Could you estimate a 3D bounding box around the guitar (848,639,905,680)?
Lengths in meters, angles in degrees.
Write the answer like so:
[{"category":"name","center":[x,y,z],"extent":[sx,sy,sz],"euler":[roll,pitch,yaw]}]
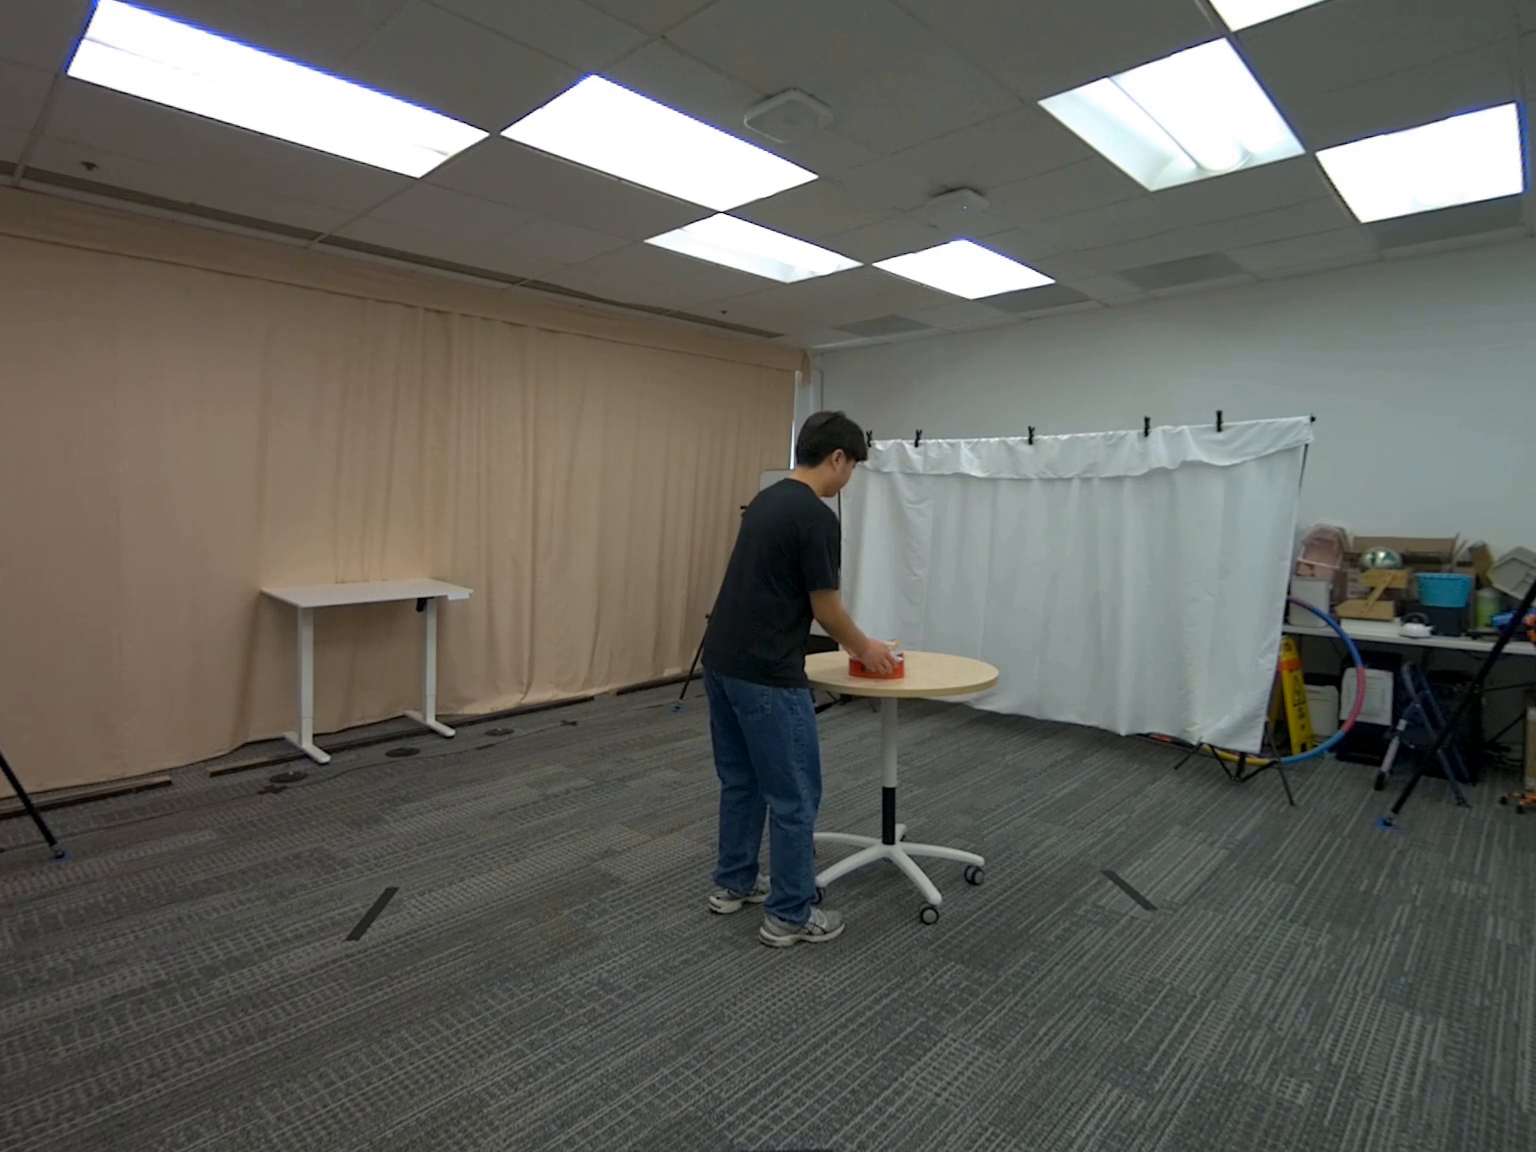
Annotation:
[{"category":"guitar","center":[0.471,0.303,3.118],"extent":[0.198,0.070,0.486],"euler":[2,5,26]}]
